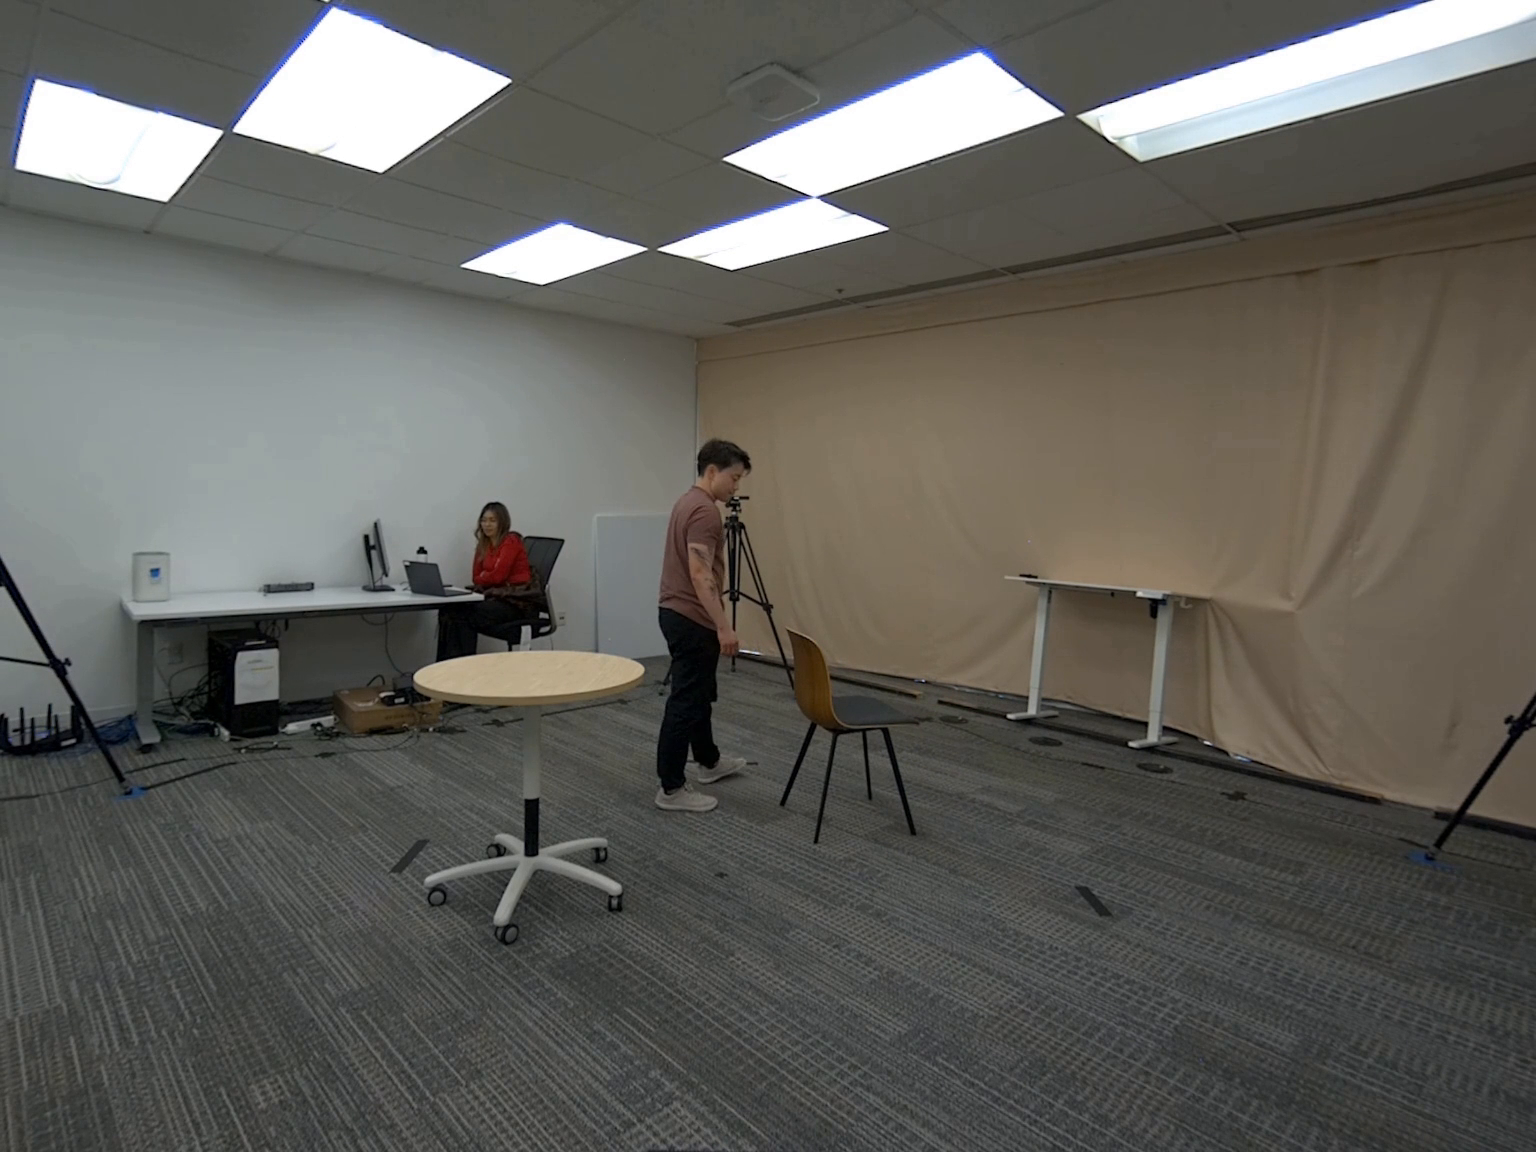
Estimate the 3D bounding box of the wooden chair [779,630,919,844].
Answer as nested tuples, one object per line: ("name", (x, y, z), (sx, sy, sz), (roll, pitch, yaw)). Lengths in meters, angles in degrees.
("wooden chair", (0.349, 0.642, 3.651), (0.517, 0.874, 0.485), (-3, 4, -17))
